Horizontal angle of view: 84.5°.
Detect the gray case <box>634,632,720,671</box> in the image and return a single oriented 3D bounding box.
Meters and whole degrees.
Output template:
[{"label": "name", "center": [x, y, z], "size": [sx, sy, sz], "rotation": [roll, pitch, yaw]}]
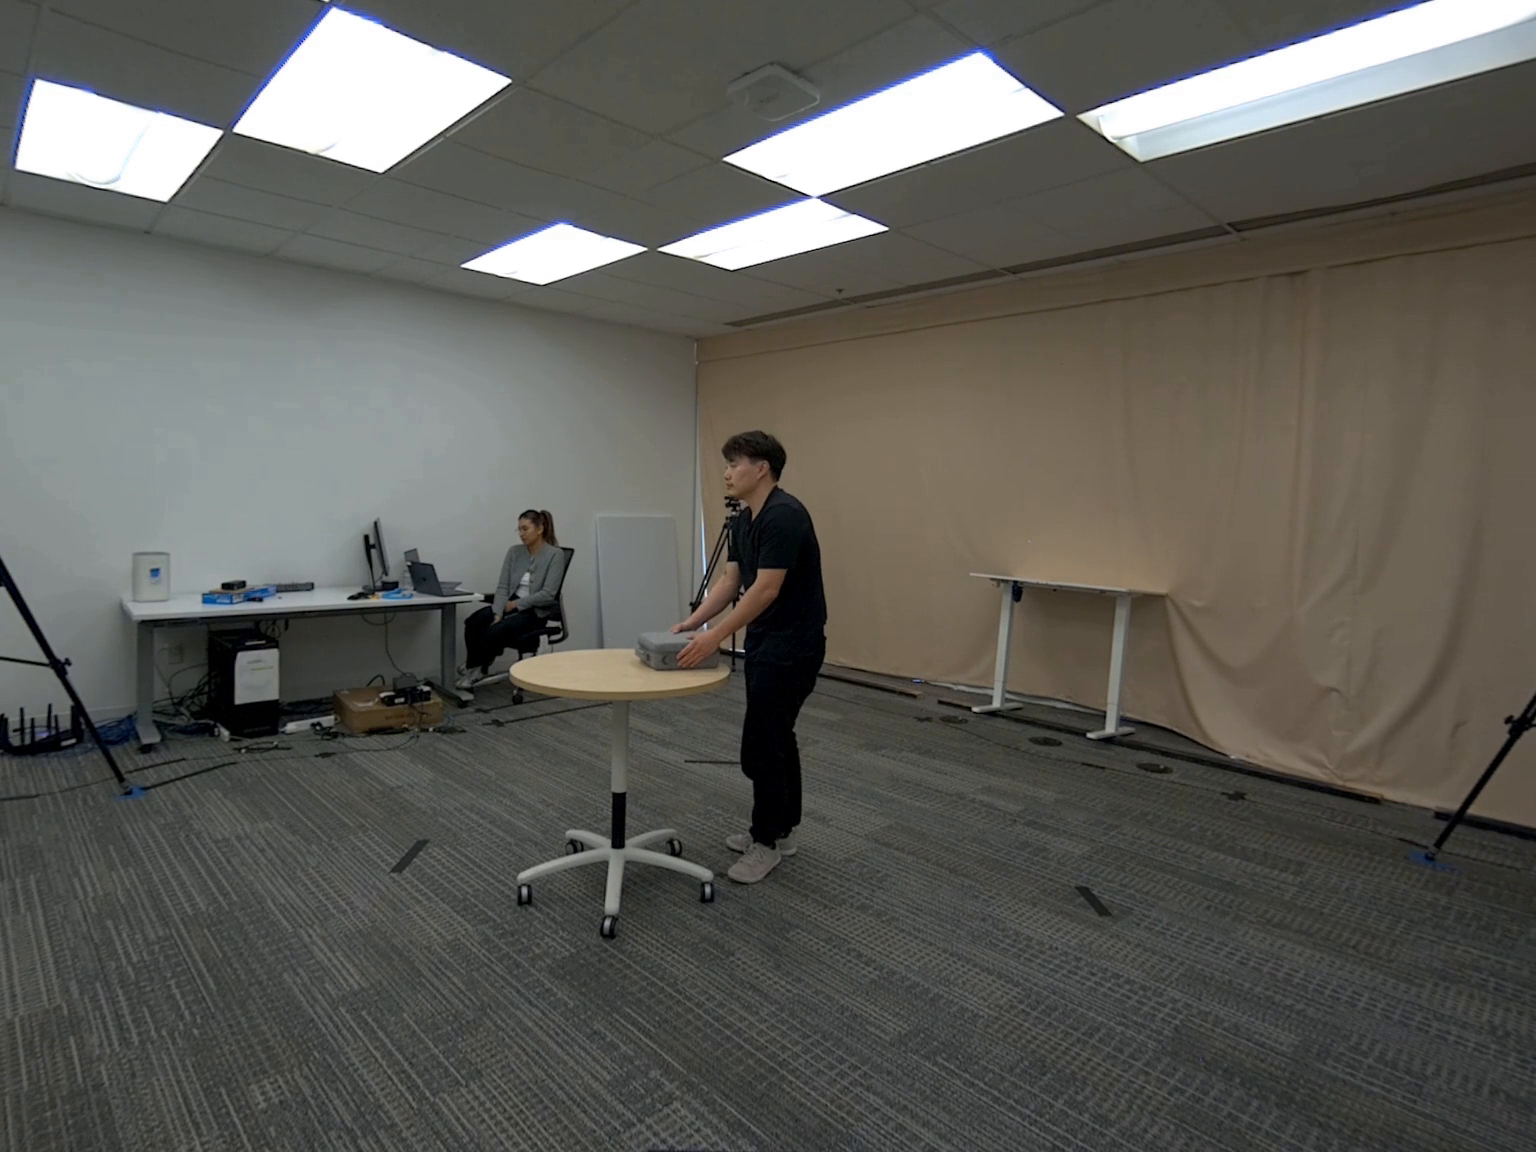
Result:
[{"label": "gray case", "center": [-0.338, 0.267, 3.064], "size": [0.257, 0.104, 0.262], "rotation": [-1, 6, -20]}]
